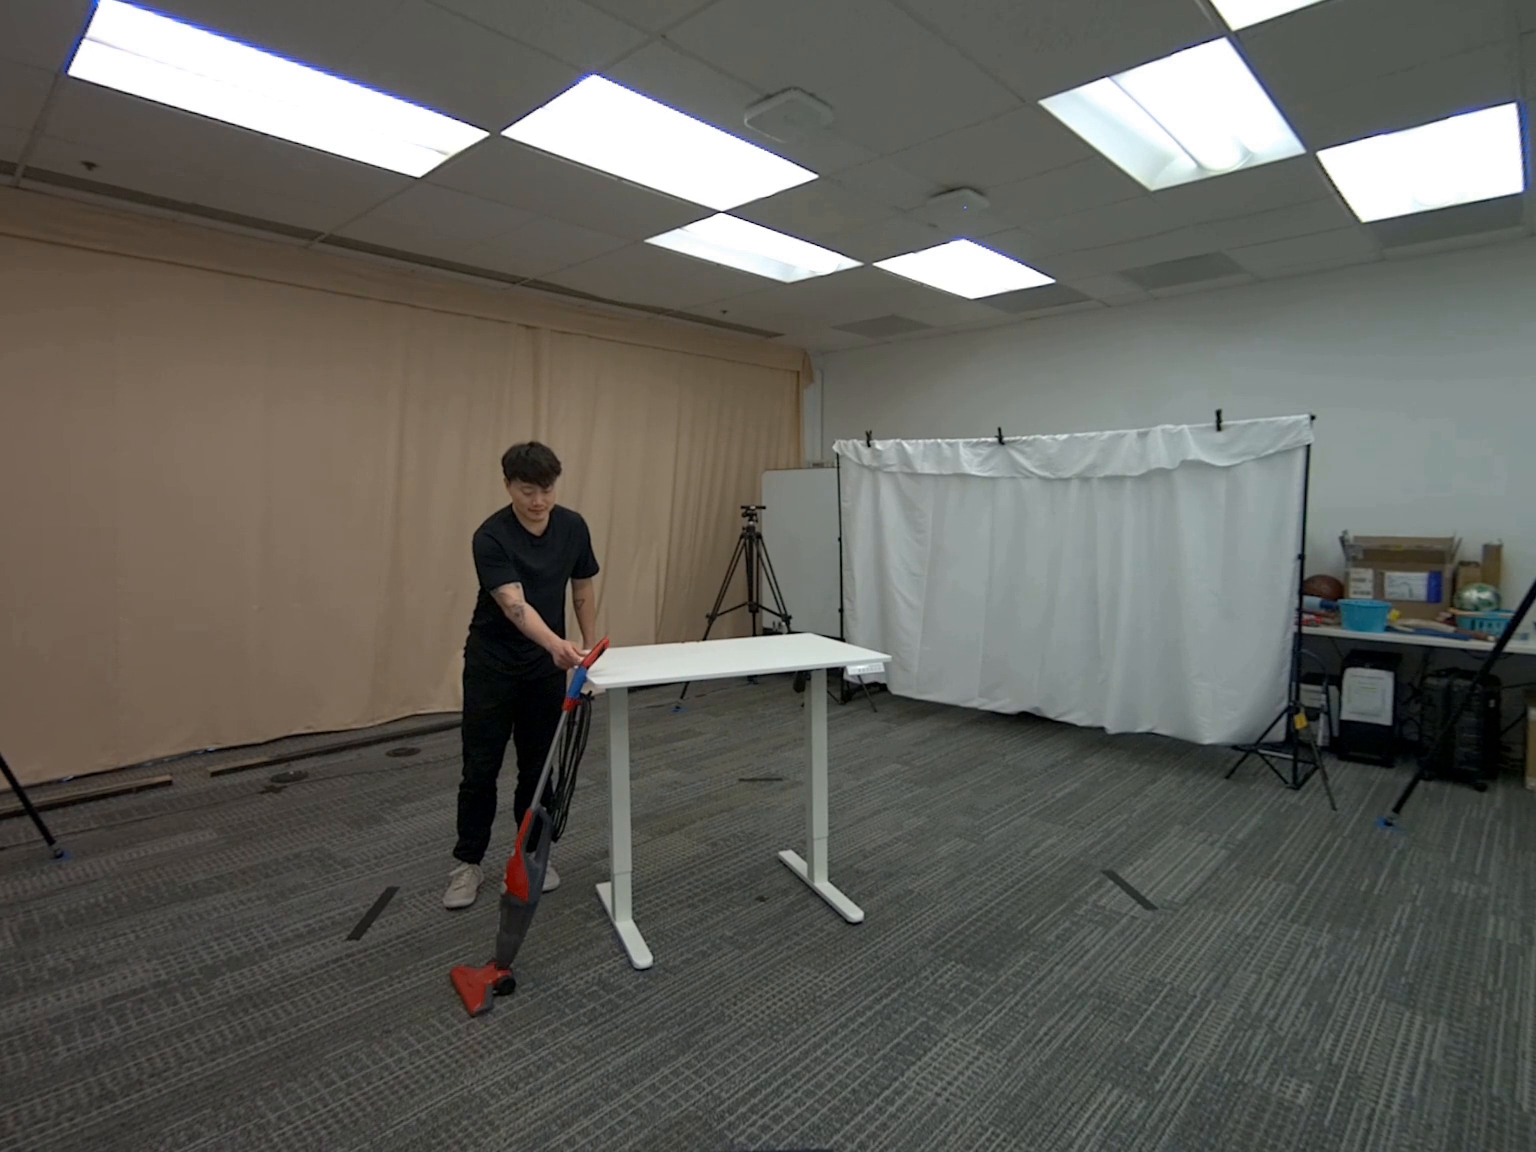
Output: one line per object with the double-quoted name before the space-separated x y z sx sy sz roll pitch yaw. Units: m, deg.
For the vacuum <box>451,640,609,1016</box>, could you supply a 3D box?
"vacuum" -0.664 0.705 2.503 0.139 1.052 0.261 24 -11 -36
